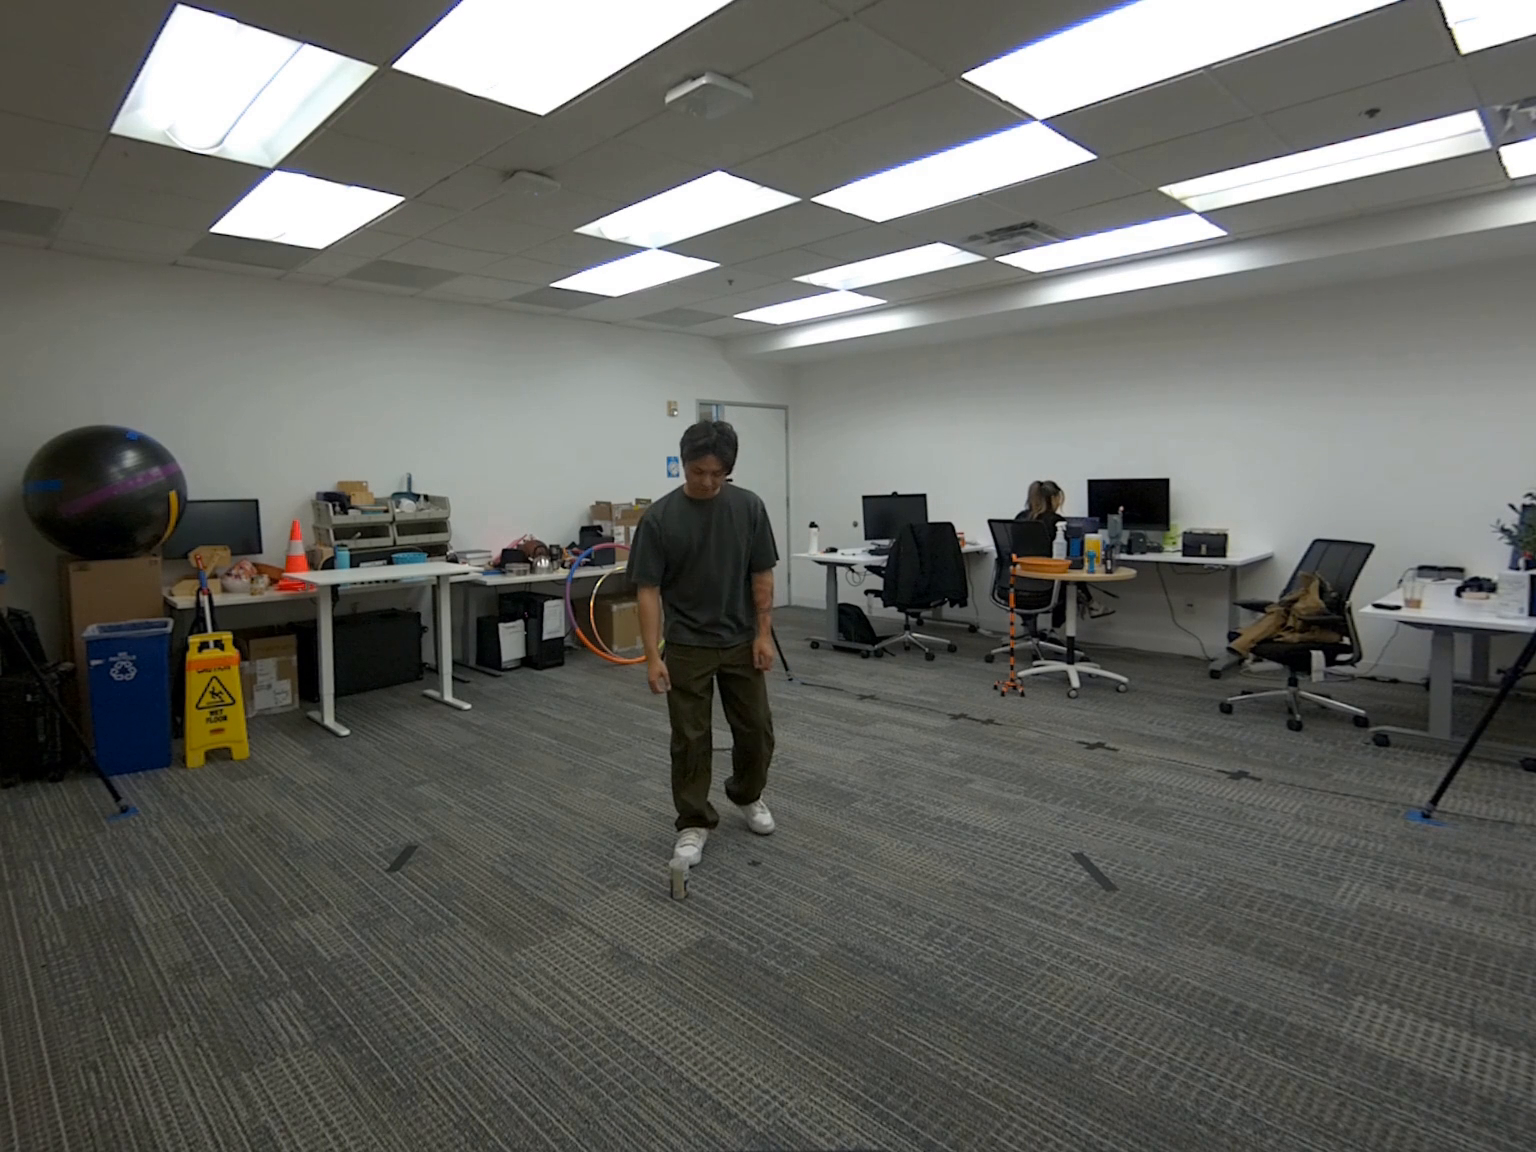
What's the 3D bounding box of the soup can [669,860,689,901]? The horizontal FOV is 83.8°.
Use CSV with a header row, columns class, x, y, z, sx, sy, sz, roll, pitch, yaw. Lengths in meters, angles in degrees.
class,x,y,z,sx,sy,sz,roll,pitch,yaw
soup can,-0.294,1.020,2.870,0.067,0.121,0.067,-1,3,-2
